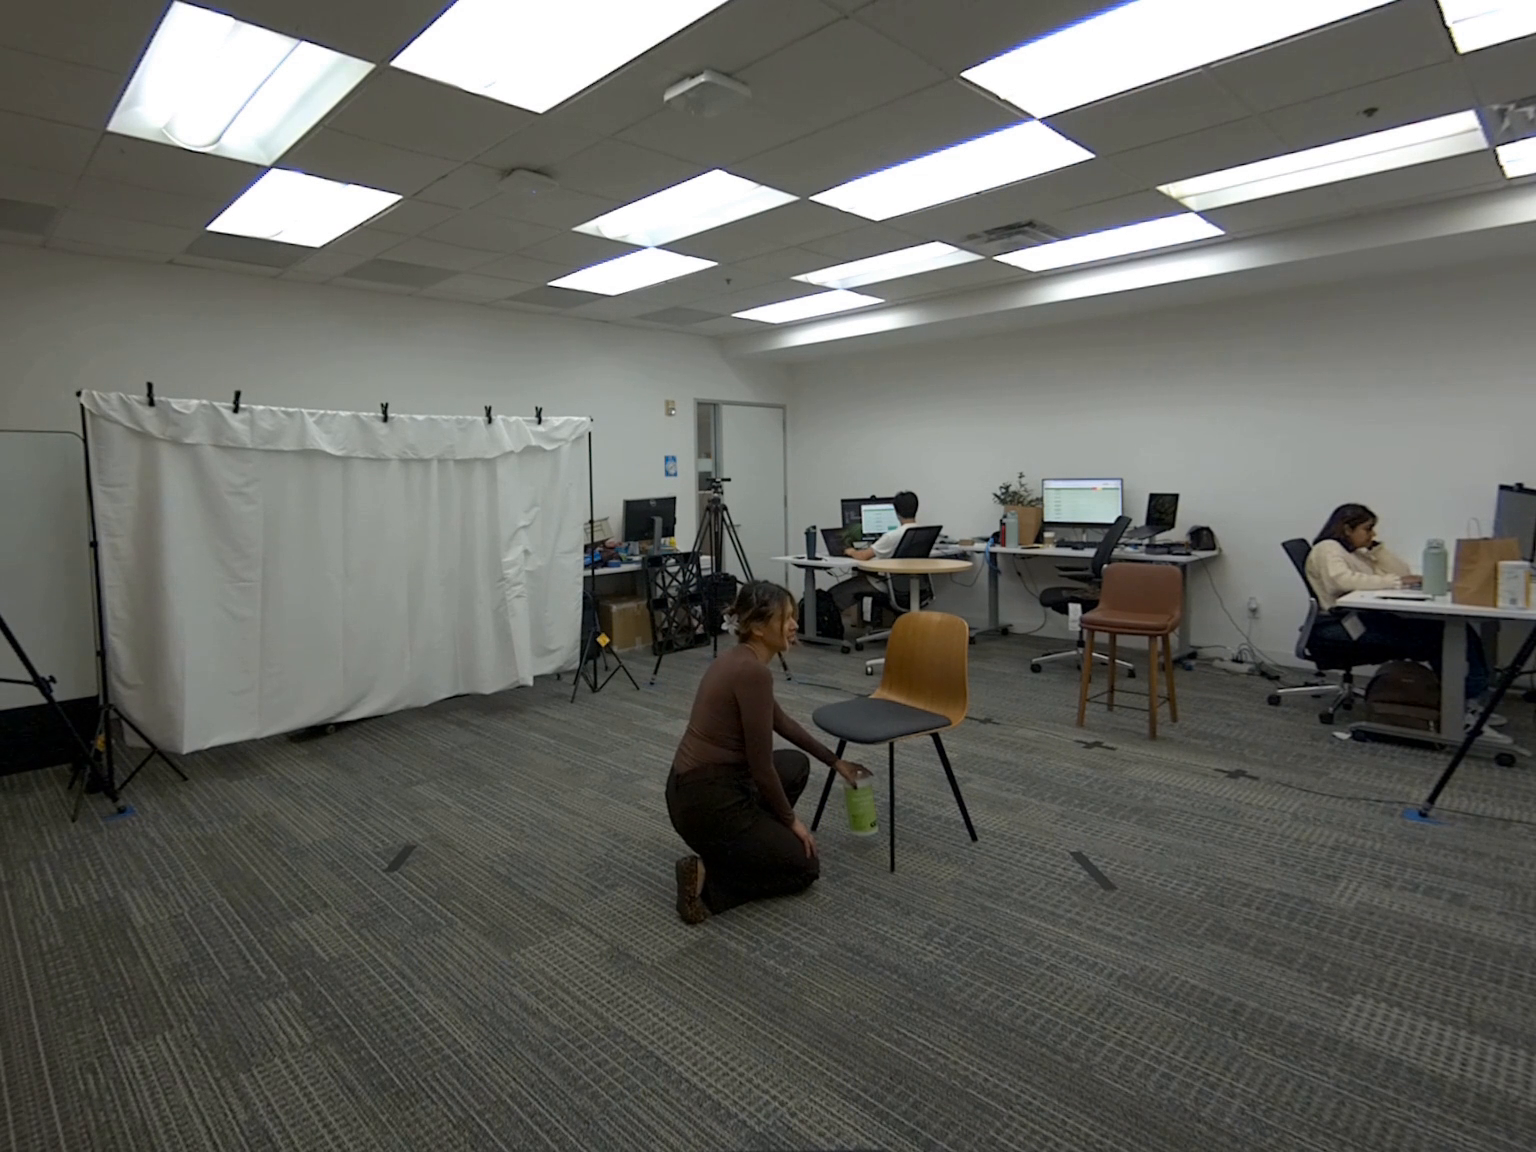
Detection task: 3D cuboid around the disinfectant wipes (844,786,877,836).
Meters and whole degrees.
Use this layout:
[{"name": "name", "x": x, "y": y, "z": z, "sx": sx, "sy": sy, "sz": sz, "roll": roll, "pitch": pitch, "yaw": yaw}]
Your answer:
[{"name": "disinfectant wipes", "x": 0.345, "y": 0.867, "z": 3.226, "sx": 0.118, "sy": 0.217, "sz": 0.118, "roll": -8, "pitch": 1, "yaw": -1}]
